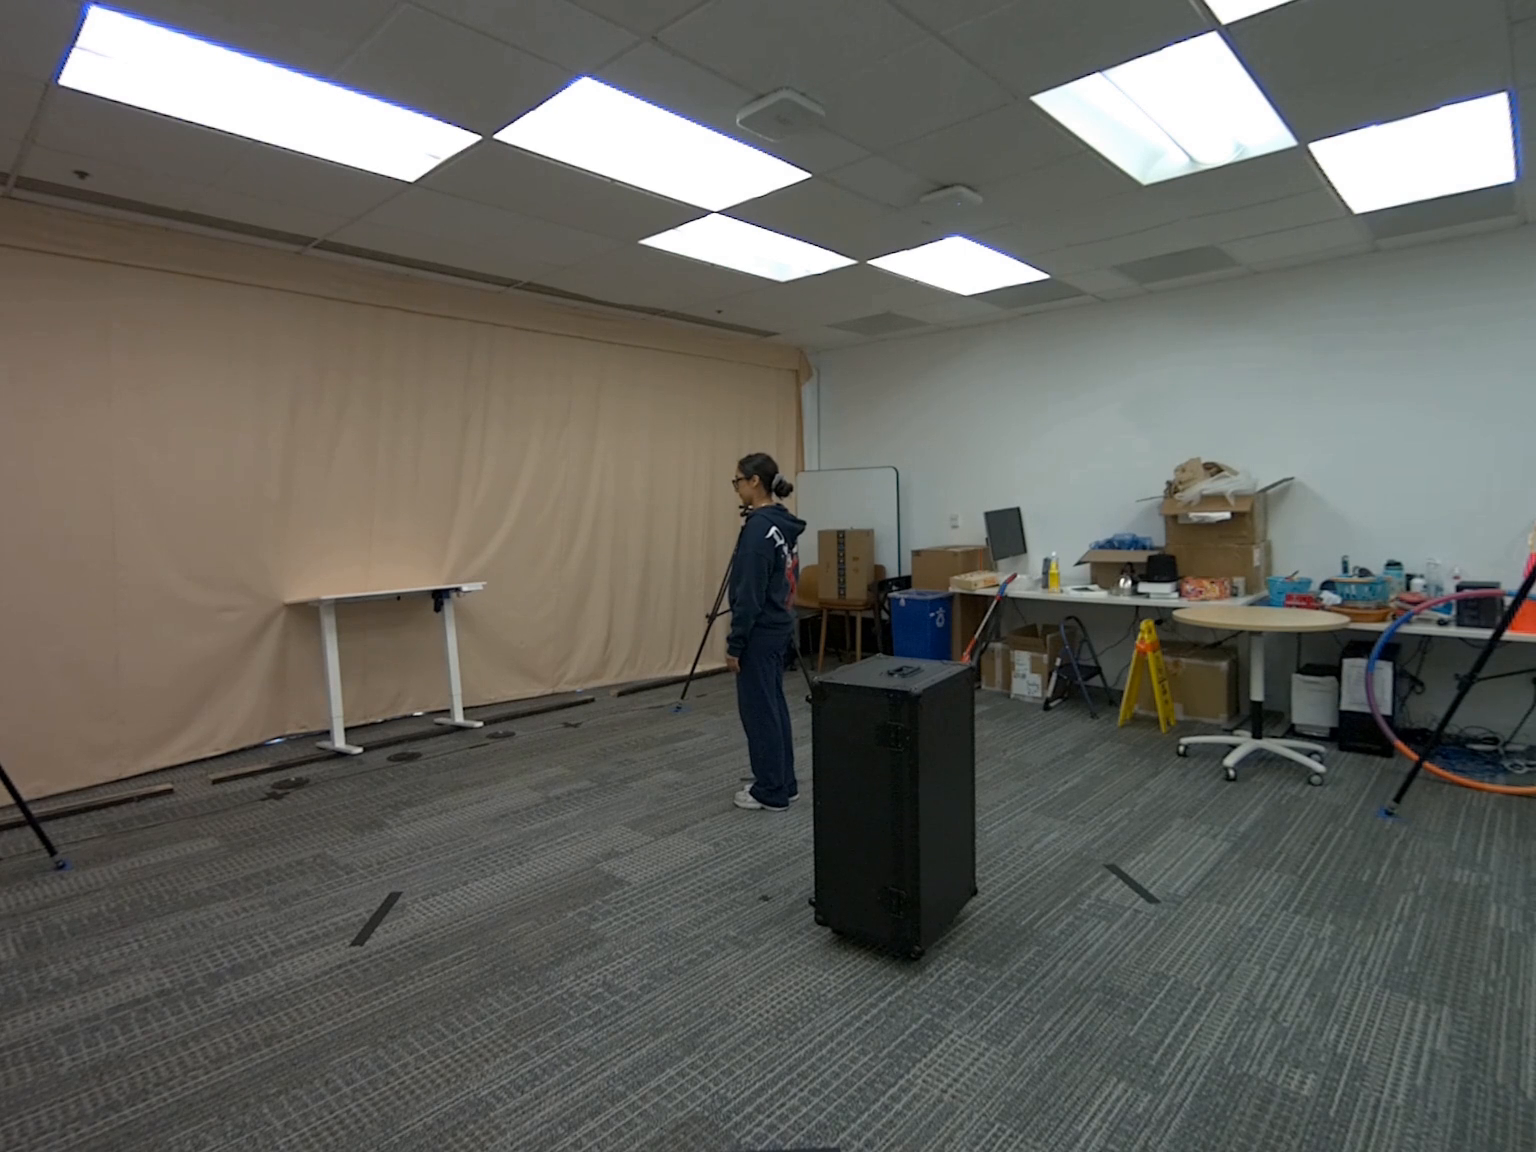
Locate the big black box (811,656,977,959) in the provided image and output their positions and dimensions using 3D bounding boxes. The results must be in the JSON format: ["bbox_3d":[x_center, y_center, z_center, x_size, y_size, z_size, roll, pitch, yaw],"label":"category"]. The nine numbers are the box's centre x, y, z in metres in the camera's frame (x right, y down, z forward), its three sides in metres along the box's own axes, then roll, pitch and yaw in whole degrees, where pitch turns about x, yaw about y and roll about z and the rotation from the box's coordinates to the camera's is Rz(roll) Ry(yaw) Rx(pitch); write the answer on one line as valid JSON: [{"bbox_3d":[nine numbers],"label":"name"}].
[{"bbox_3d":[0.424,0.738,2.734,0.537,0.860,0.385,1,4,35],"label":"big black box"}]
